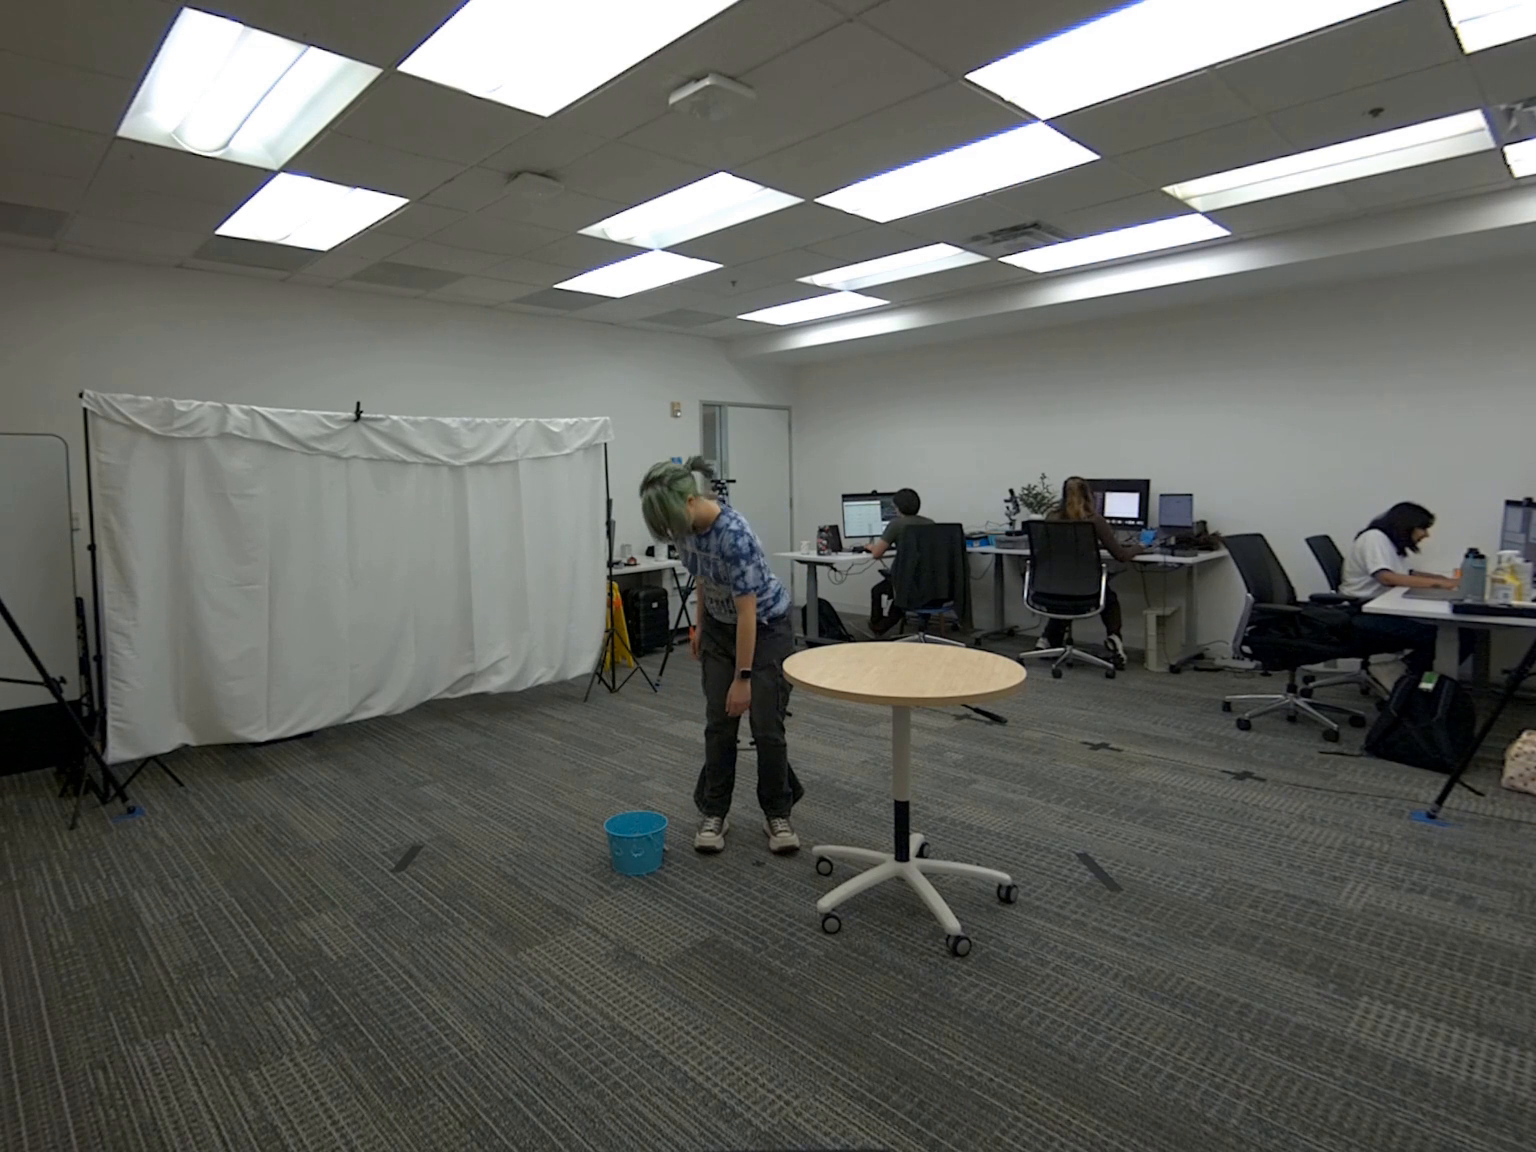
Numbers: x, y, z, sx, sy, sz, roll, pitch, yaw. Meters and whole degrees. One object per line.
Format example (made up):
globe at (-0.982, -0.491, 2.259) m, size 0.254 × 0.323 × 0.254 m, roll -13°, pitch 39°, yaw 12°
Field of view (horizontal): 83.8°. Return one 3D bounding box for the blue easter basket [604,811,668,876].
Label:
blue easter basket at (-0.475, 0.974, 3.118) m, size 0.243 × 0.155 × 0.245 m, roll -2°, pitch 5°, yaw -2°
